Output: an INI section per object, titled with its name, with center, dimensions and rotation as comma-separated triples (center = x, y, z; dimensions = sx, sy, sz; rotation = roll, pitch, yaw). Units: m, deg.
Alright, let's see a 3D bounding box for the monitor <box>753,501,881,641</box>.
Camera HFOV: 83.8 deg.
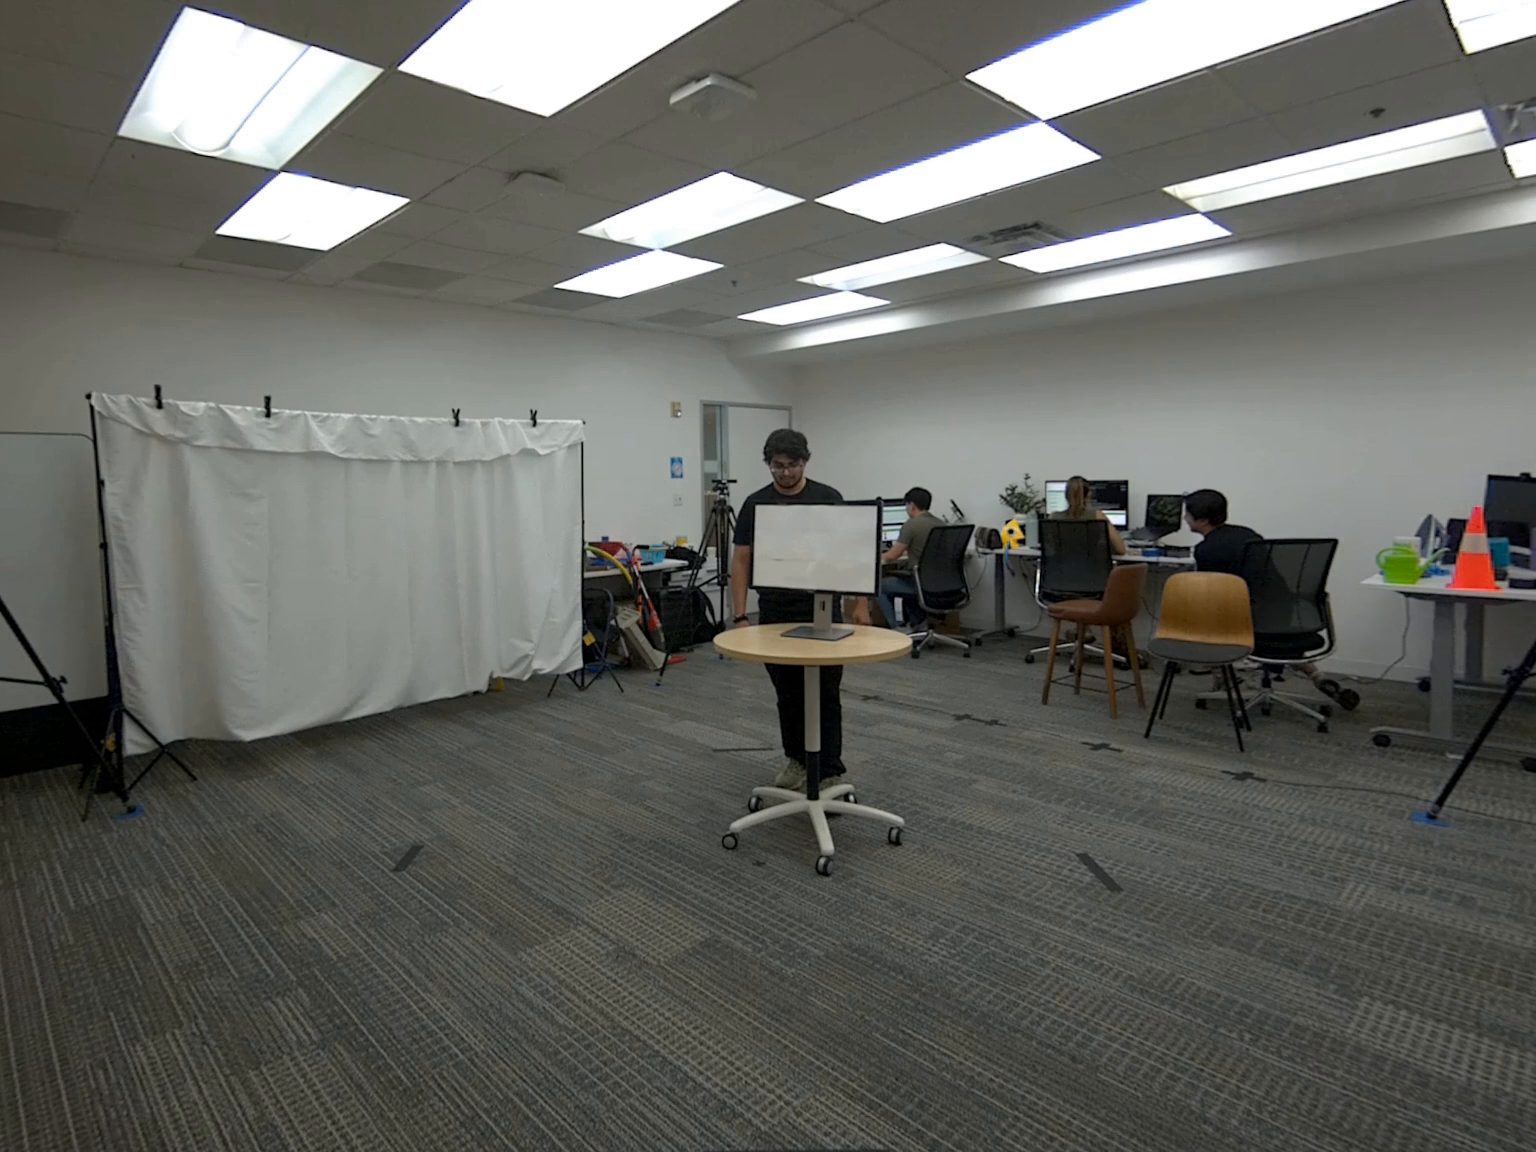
[monitor]
center = 0.211, -0.027, 3.414
dimensions = 0.580, 0.553, 0.205
rotation = 2, 2, 31
